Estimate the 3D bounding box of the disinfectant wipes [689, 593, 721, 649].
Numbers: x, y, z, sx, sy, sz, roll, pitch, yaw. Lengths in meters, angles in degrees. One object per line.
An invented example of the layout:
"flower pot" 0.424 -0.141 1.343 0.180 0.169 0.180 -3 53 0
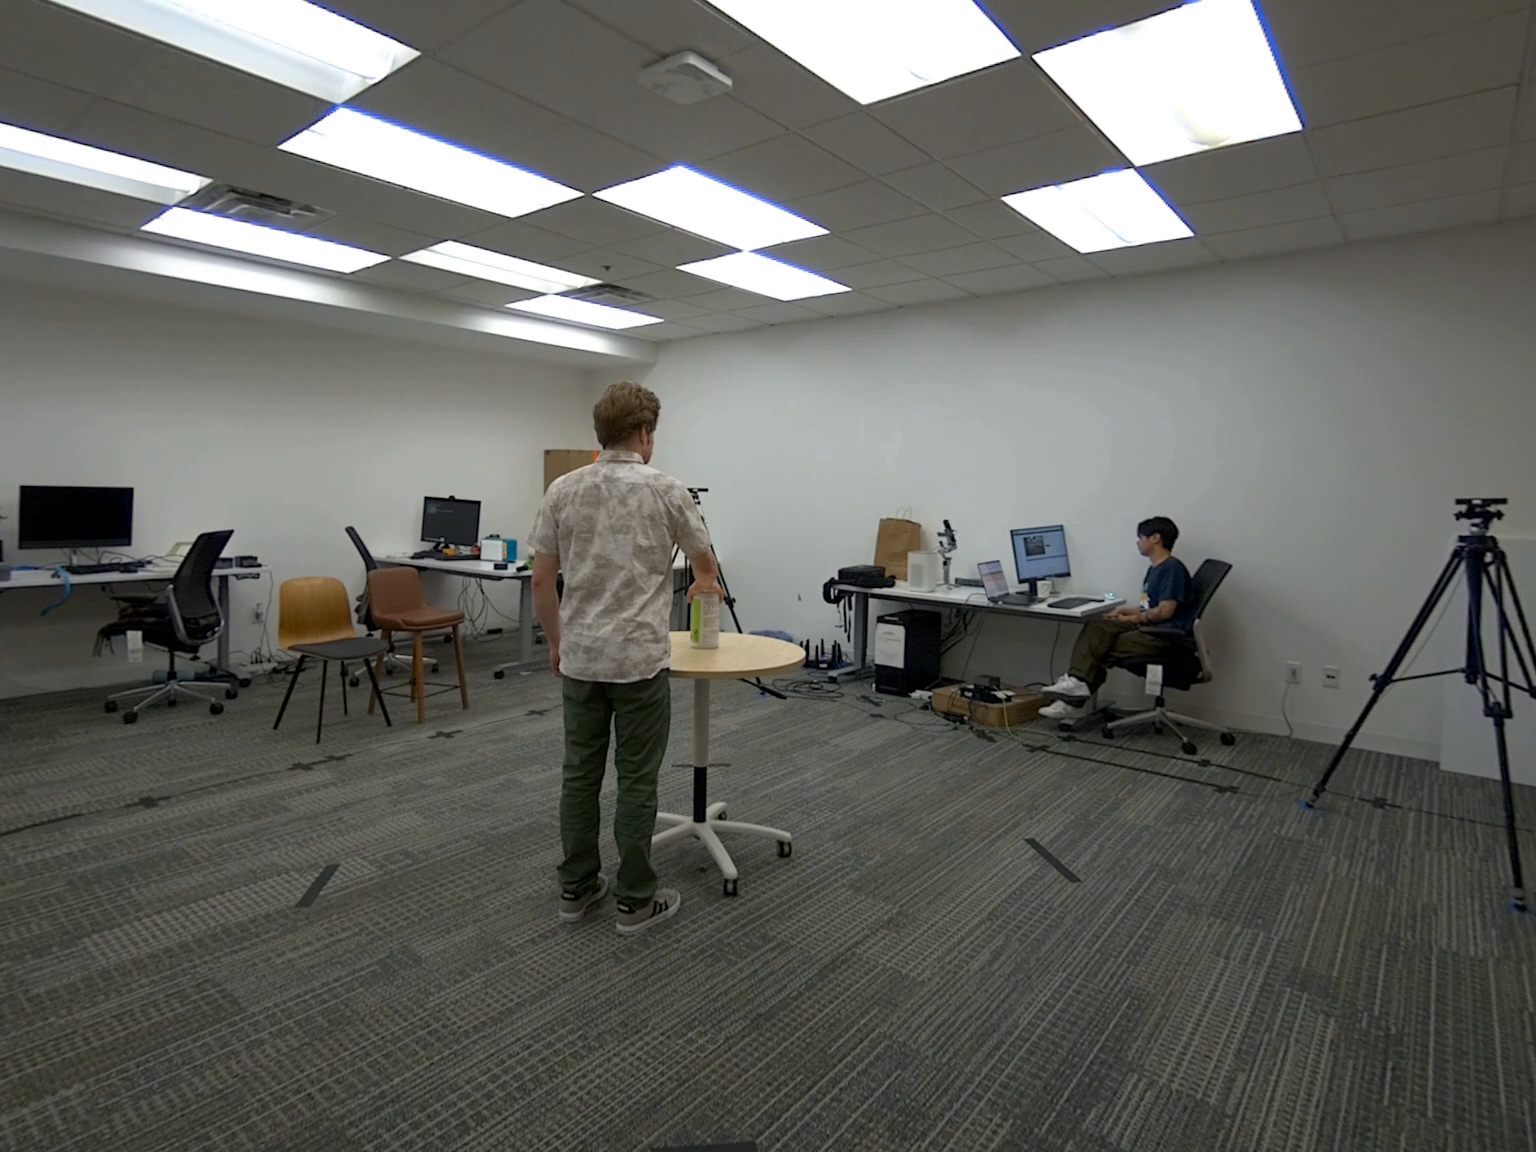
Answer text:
"disinfectant wipes" -0.248 0.160 3.219 0.118 0.217 0.118 1 3 -2
